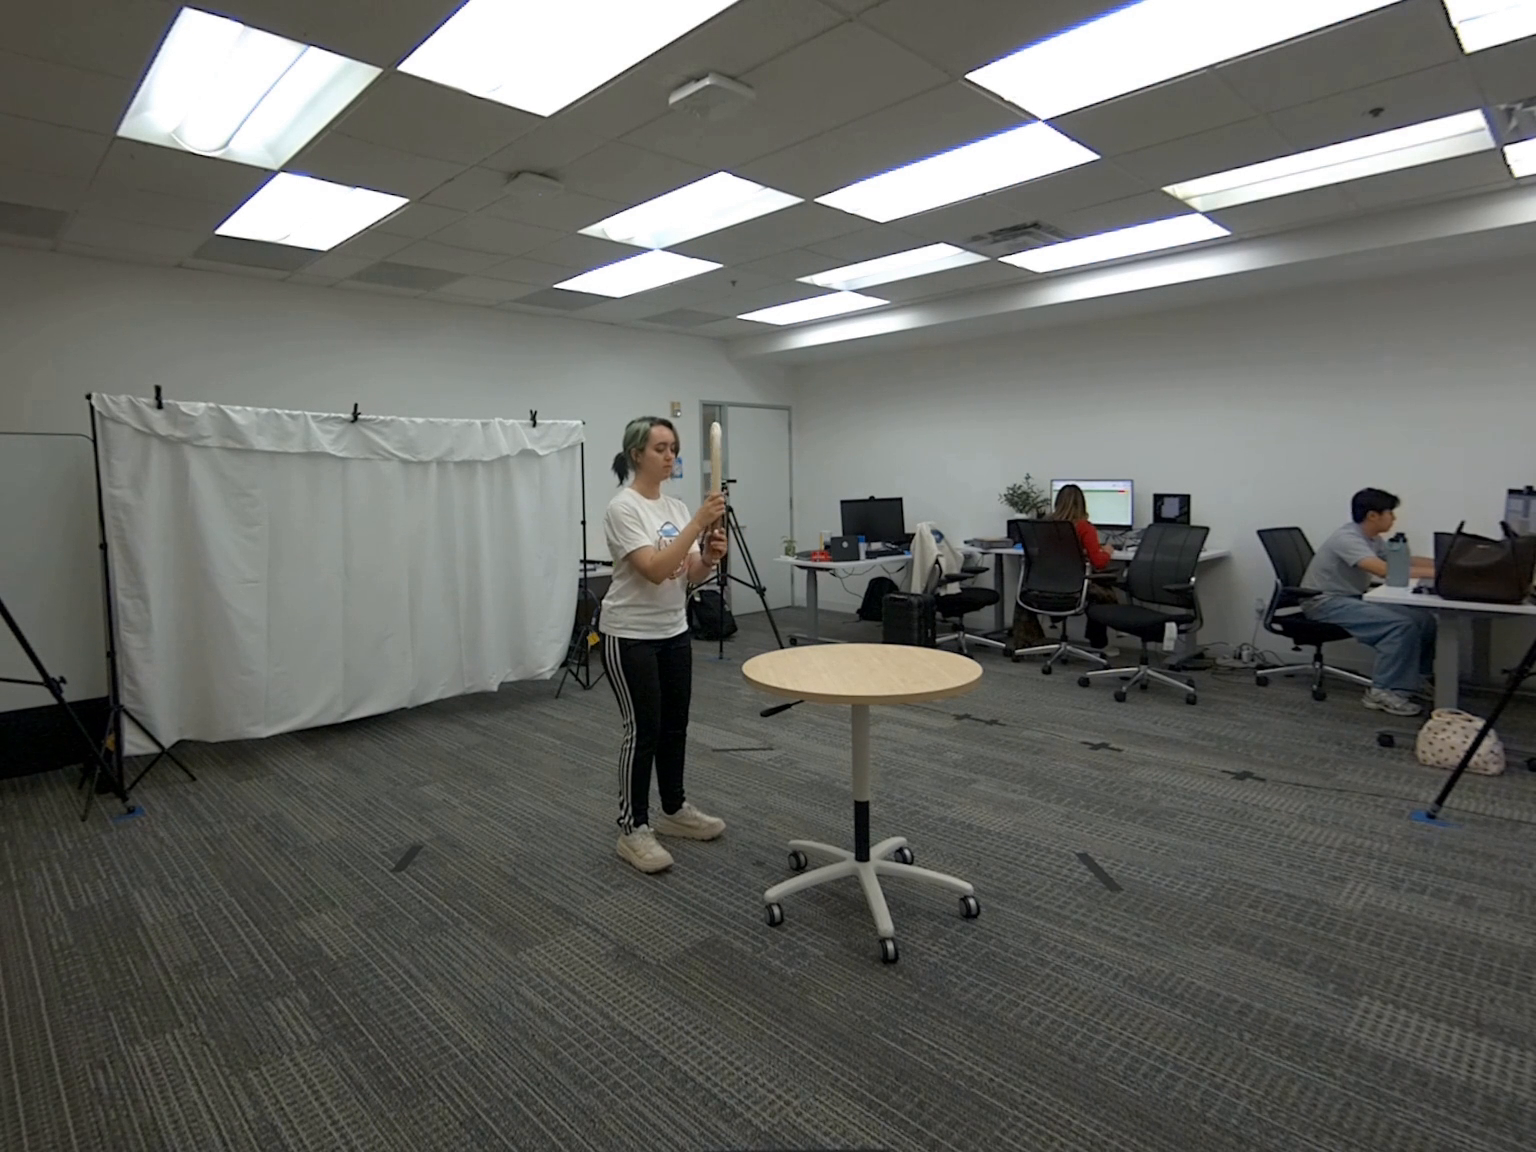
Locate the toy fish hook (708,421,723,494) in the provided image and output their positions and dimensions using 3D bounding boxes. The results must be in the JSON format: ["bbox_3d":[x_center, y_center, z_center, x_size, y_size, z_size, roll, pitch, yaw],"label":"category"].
[{"bbox_3d":[-0.194,-0.304,3.091,0.048,0.506,0.226,1,1,-6],"label":"toy fish hook"}]
